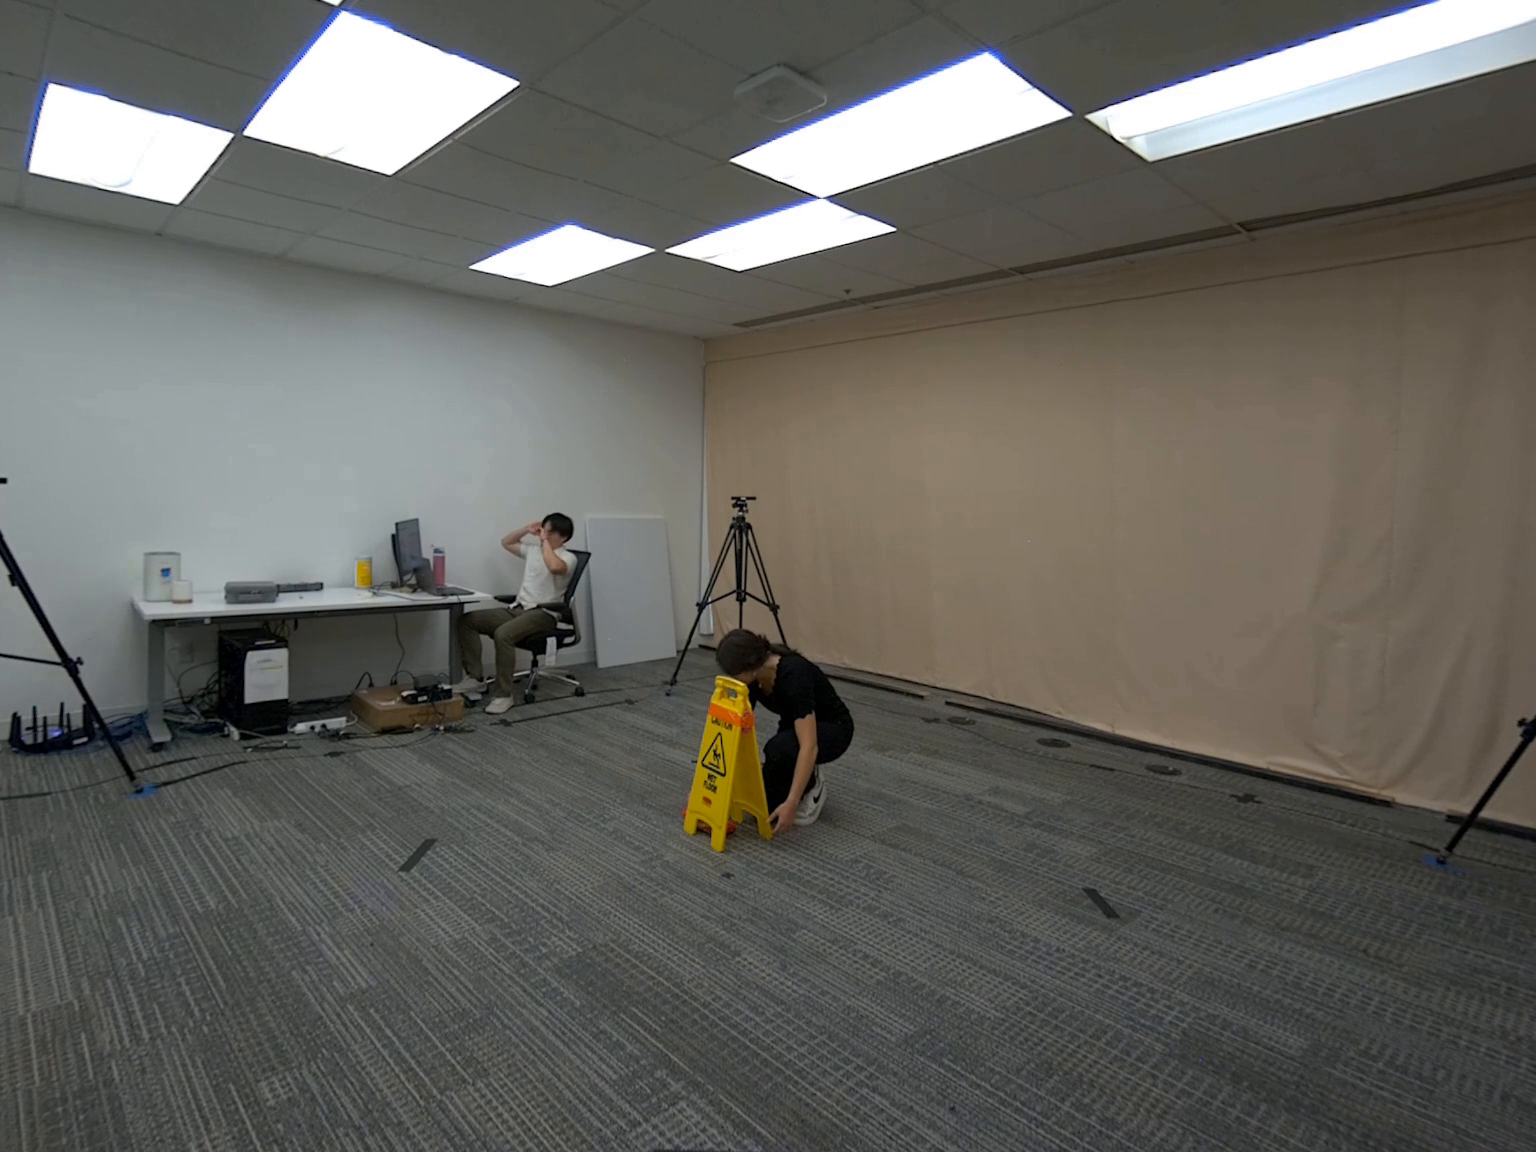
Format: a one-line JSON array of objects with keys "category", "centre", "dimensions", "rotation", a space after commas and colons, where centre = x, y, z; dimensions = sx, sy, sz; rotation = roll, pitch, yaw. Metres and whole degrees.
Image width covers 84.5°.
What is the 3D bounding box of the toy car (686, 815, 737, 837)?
[{"category": "toy car", "centre": [-0.253, 1.033, 3.552], "dimensions": [0.262, 0.082, 0.127], "rotation": [20, 17, 41]}]
